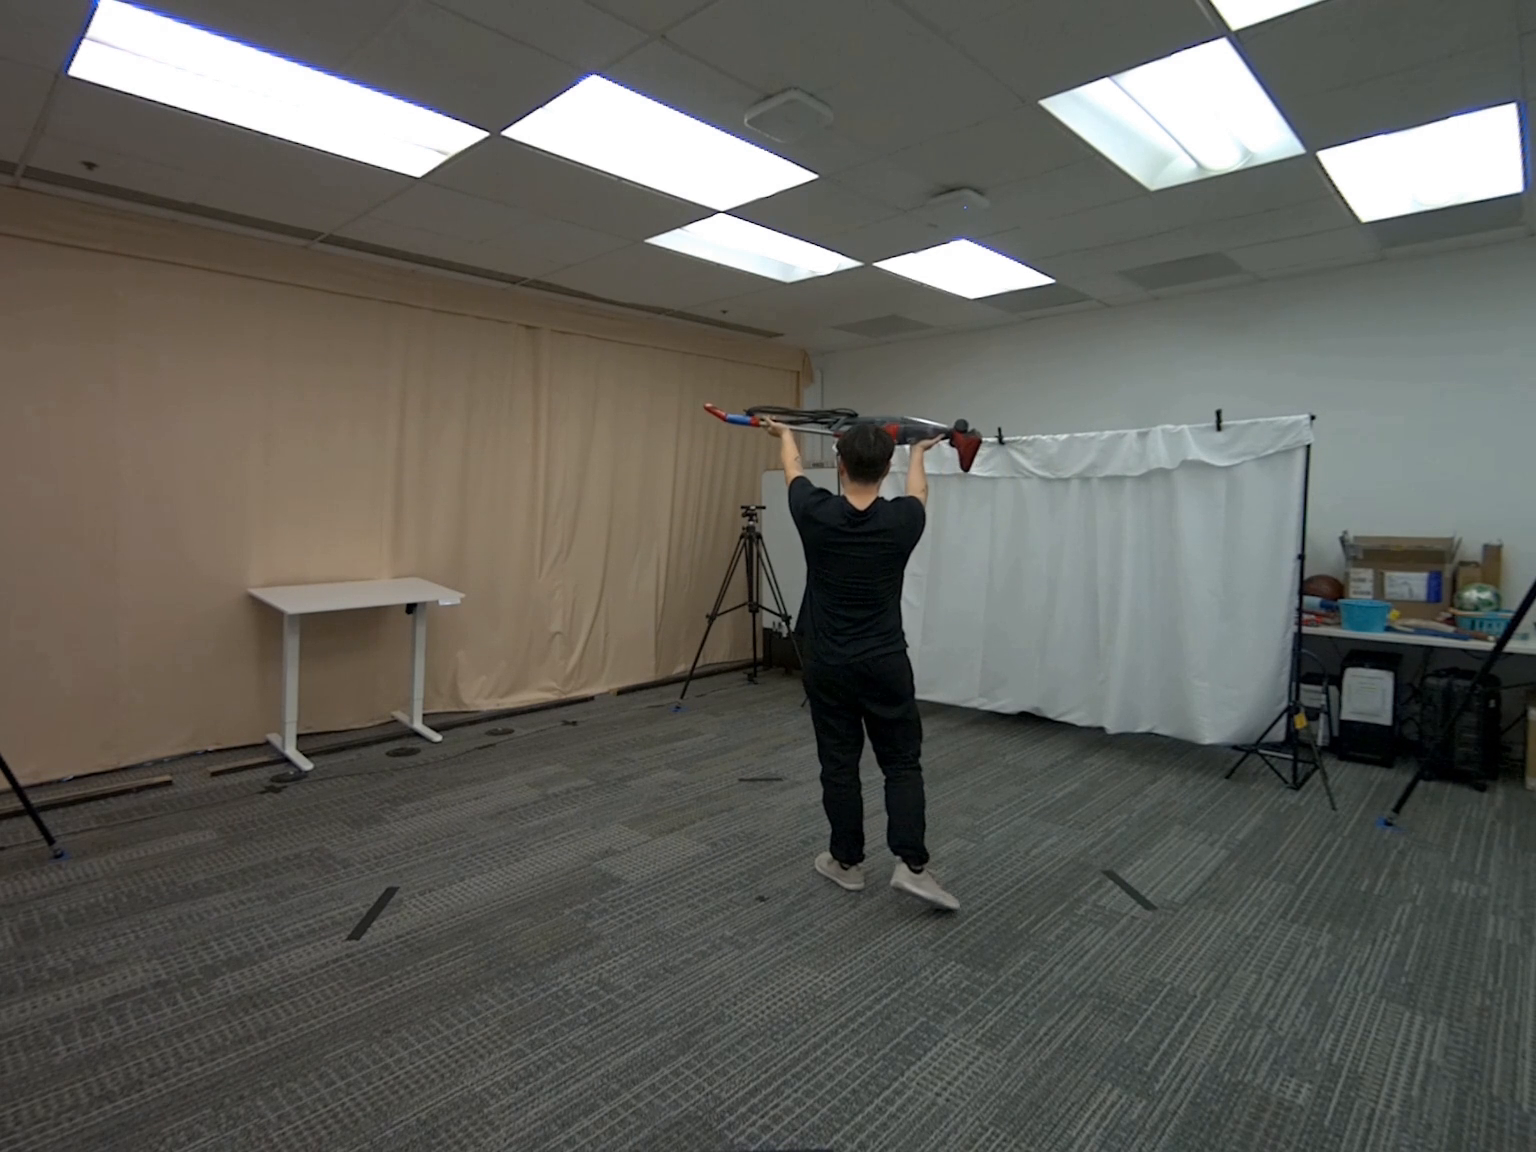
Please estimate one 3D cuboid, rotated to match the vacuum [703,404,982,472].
[{"bbox_3d":[0.276,-0.596,3.370,1.059,0.145,0.248,9,-24,8],"label":"vacuum"}]
